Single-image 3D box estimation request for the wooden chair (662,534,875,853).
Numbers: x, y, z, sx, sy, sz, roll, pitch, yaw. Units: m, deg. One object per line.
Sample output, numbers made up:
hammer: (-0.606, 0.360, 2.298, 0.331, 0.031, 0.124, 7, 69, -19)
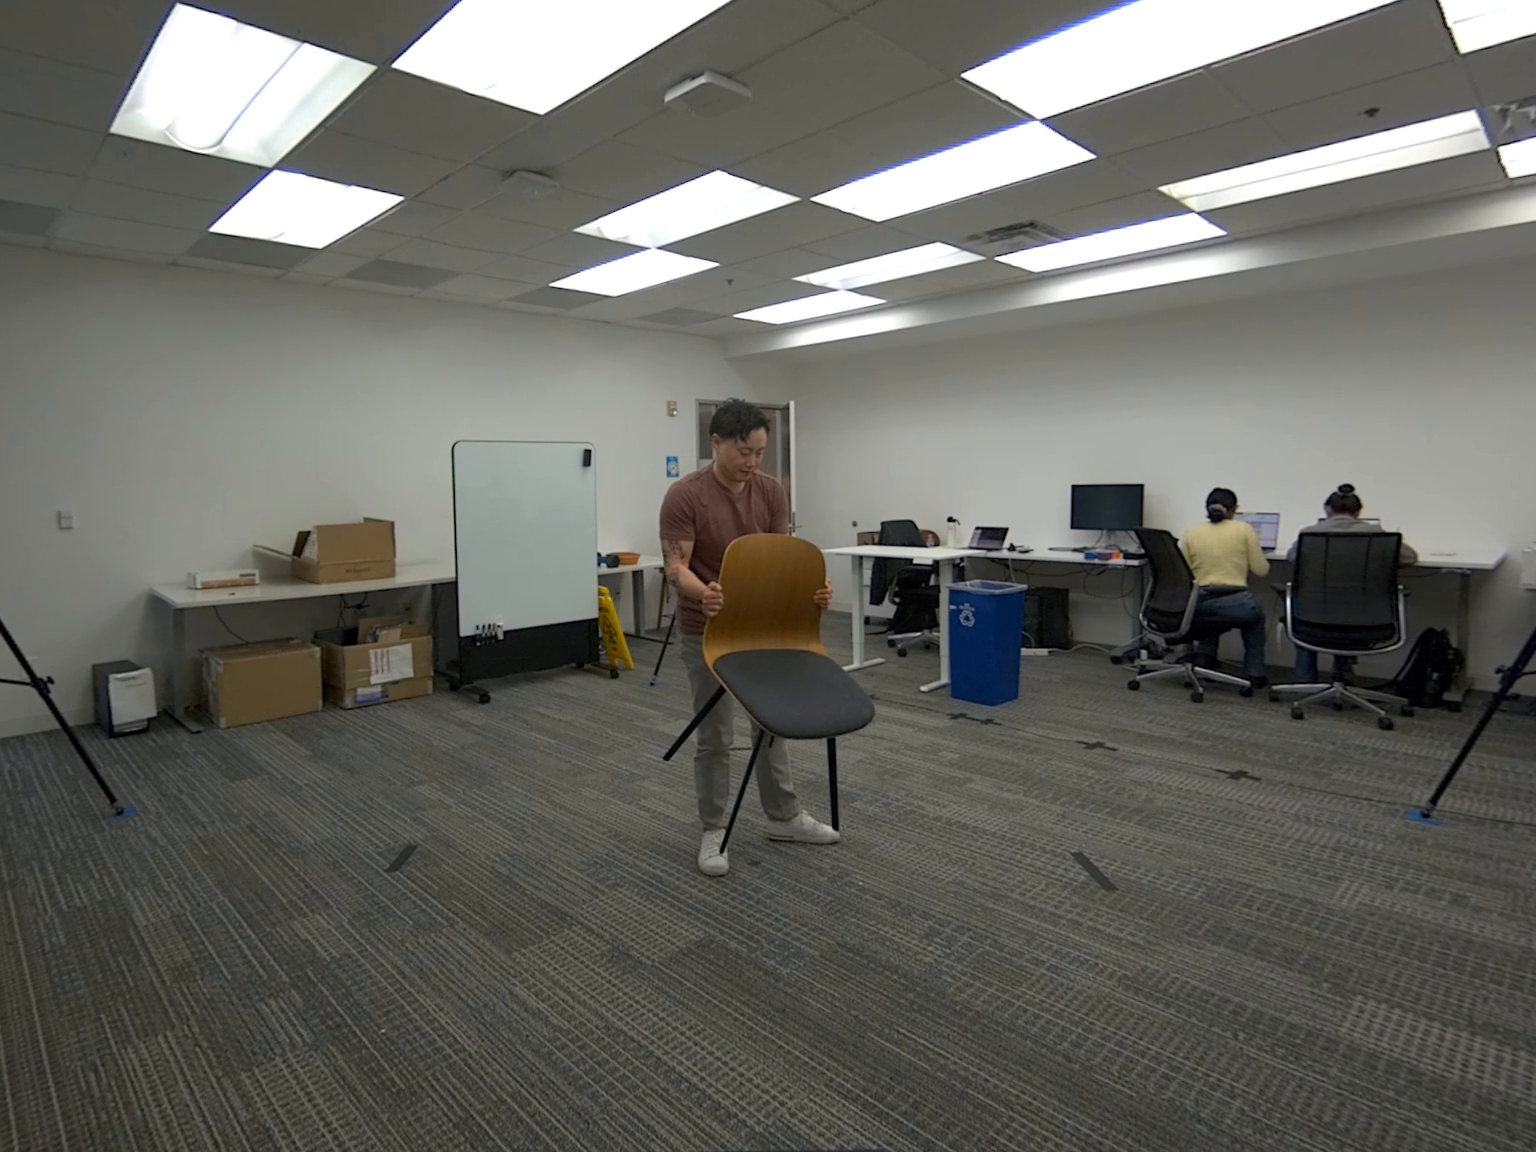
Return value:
wooden chair: (0.051, 0.370, 2.730, 0.466, 0.867, 0.543, 1, 21, -32)
